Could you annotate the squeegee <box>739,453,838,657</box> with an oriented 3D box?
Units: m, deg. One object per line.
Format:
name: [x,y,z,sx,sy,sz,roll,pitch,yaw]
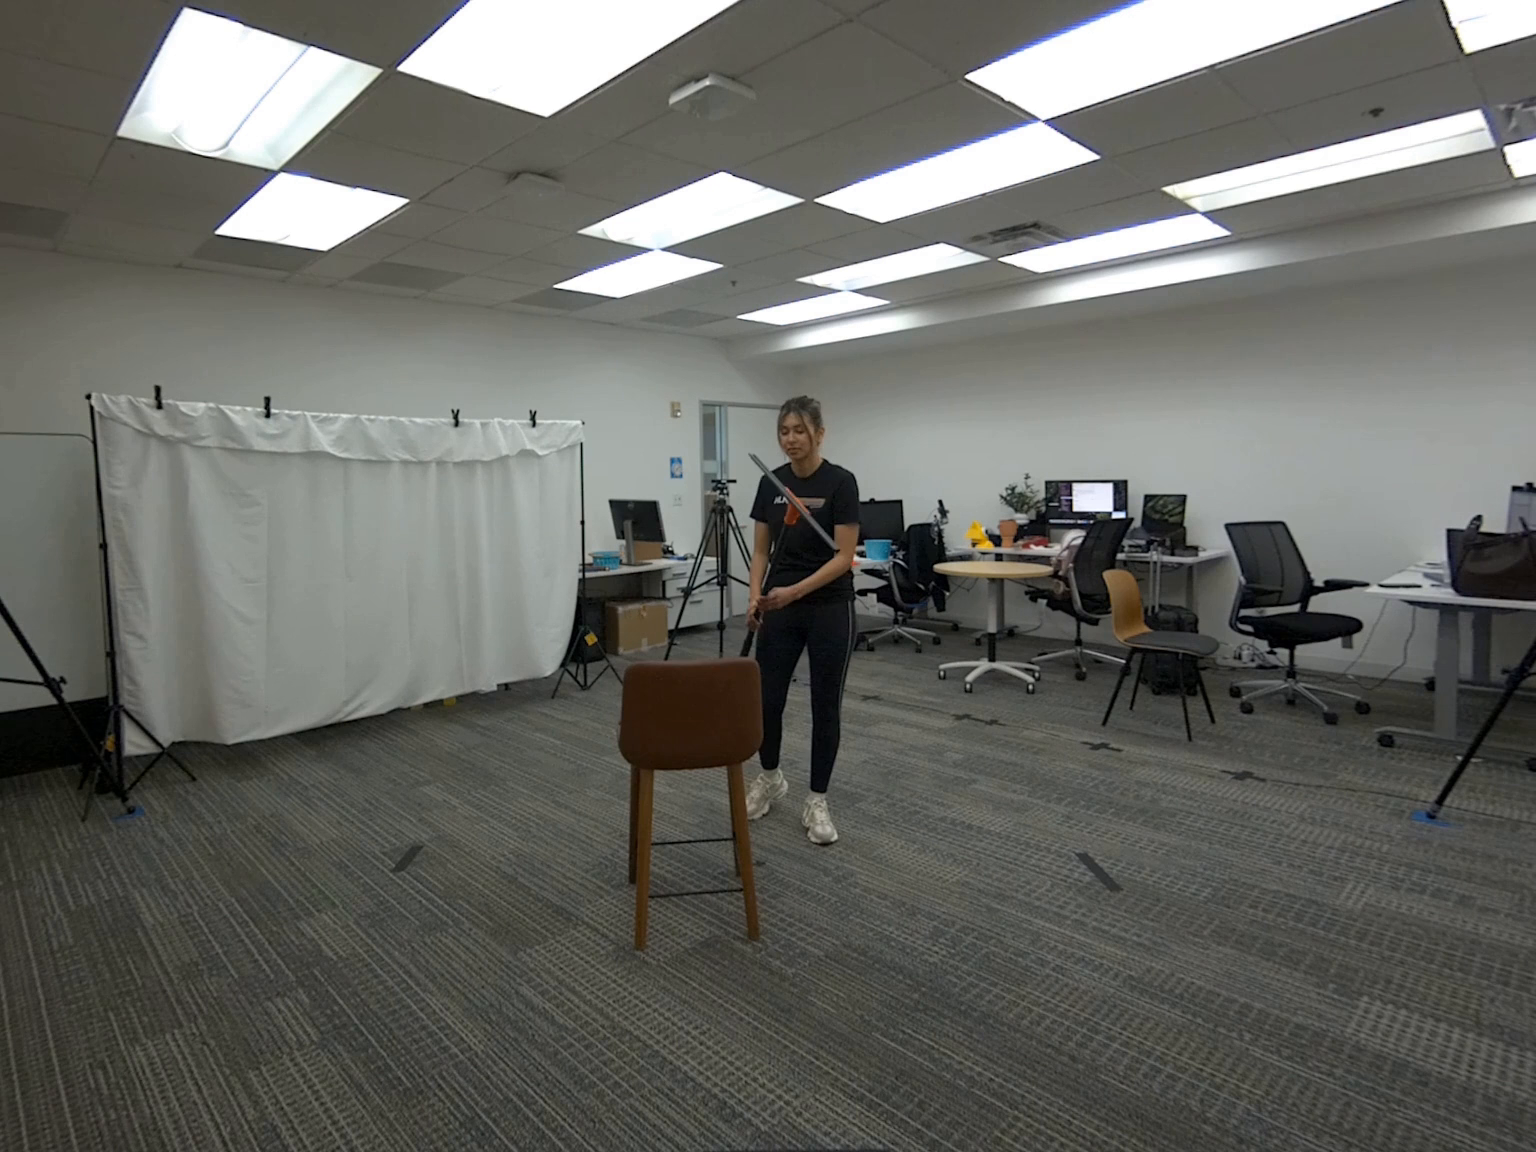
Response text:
squeegee: [-0.066,0.201,3.239,0.052,0.451,1.509,-25,-27,-26]
